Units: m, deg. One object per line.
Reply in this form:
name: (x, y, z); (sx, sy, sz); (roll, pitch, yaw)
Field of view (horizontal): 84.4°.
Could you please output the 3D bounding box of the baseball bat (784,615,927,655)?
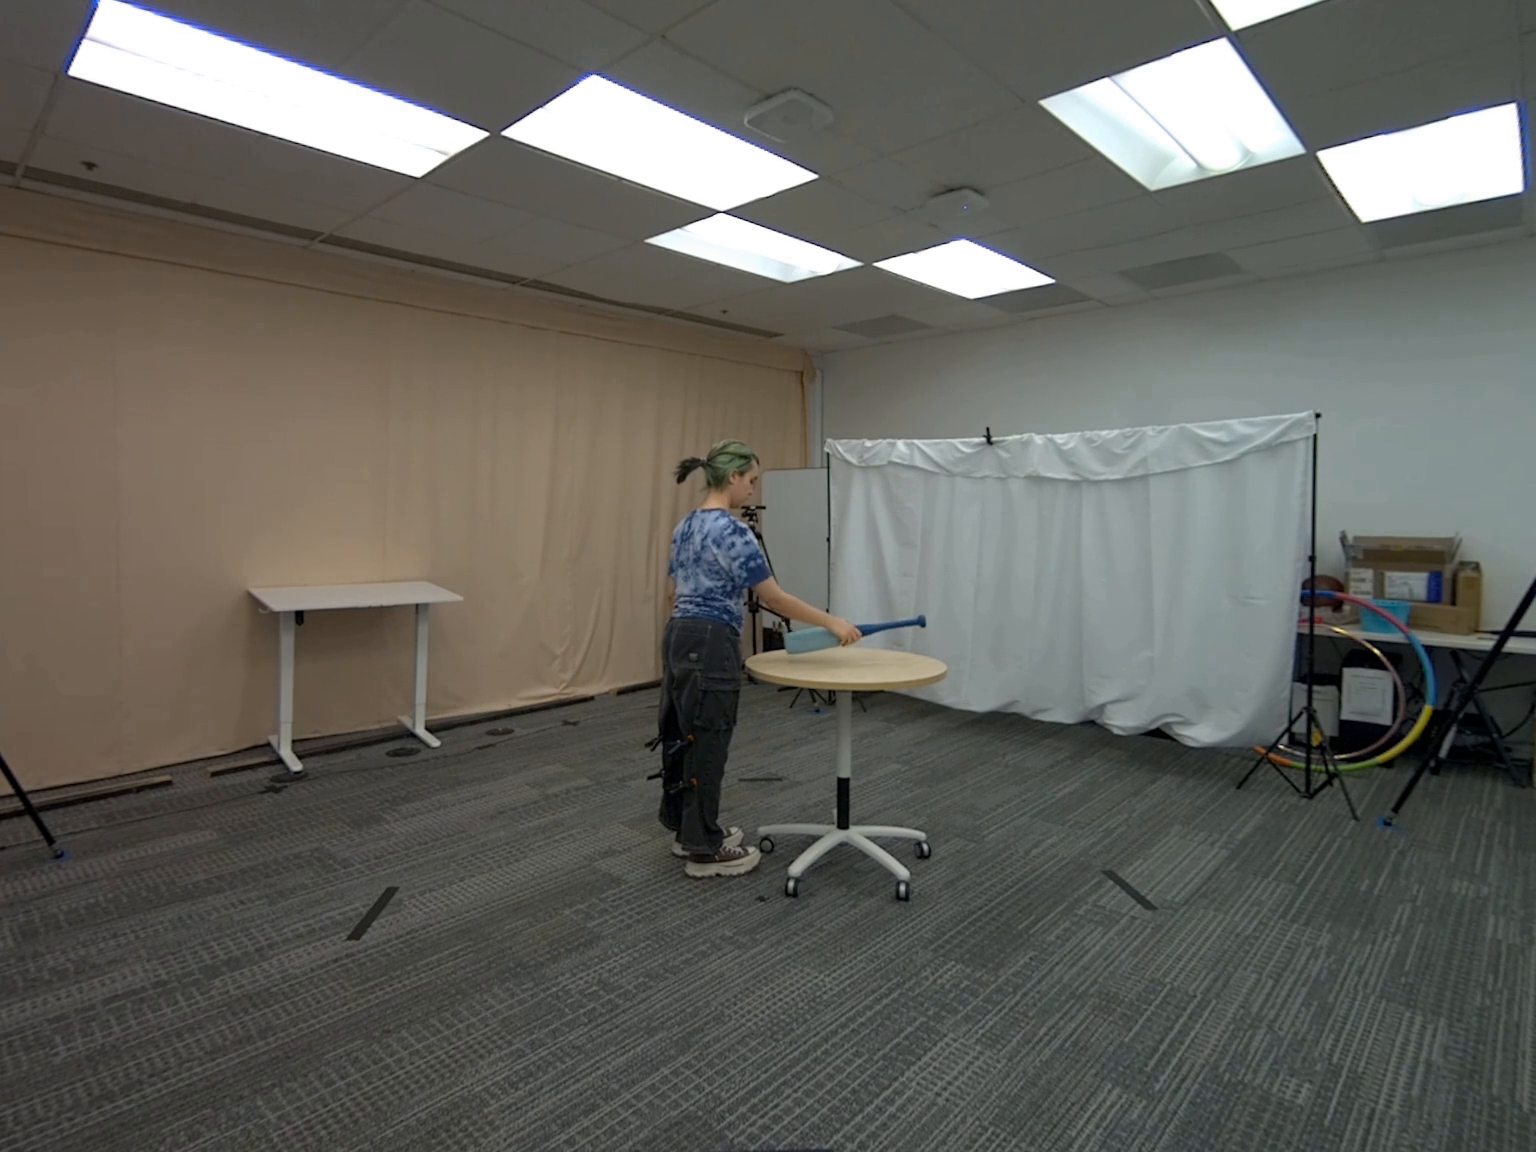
baseball bat: (0.325, 0.223, 3.228); (0.548, 0.089, 0.088); (-10, 3, 9)
